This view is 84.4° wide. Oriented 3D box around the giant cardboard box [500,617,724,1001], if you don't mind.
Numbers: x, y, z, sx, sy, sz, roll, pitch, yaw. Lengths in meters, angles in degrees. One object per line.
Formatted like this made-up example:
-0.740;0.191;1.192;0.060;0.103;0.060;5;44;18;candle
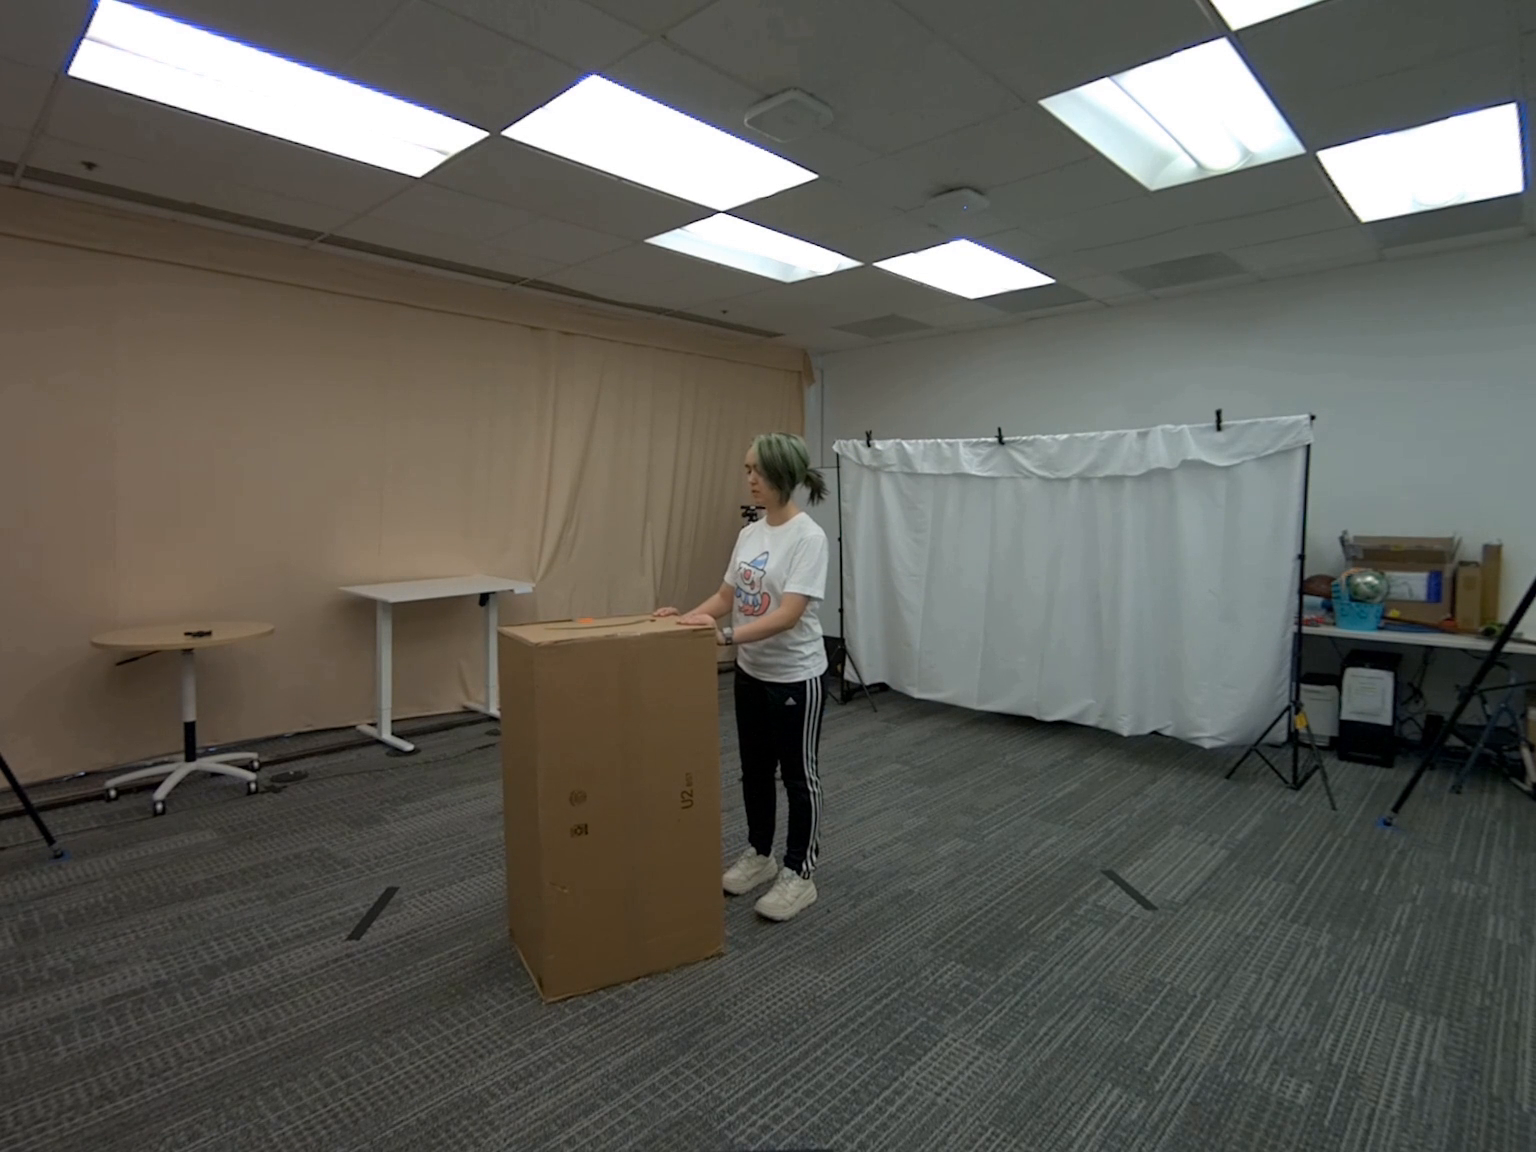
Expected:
-0.499;0.667;2.643;0.568;1.025;0.460;-2;4;-31;giant cardboard box
